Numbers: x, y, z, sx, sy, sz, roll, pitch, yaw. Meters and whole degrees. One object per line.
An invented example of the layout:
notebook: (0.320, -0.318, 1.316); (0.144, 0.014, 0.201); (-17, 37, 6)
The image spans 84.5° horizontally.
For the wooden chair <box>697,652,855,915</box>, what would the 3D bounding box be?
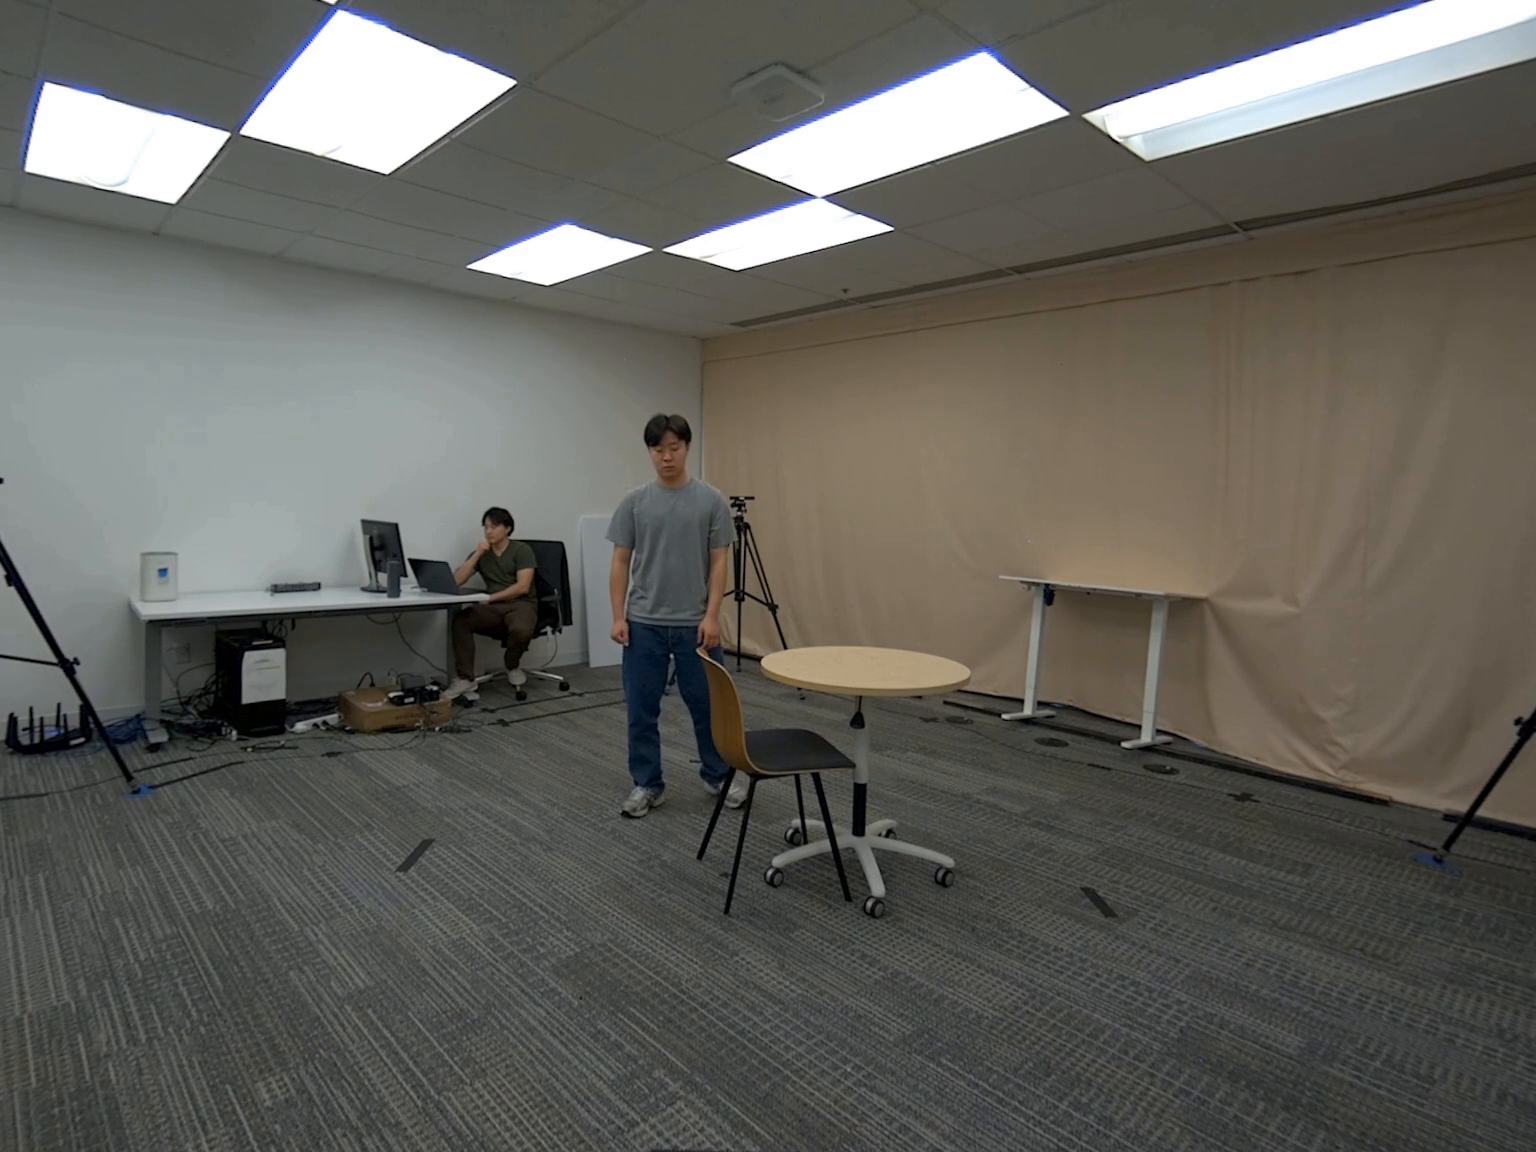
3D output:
wooden chair: (0.018, 0.684, 3.043); (0.517, 0.874, 0.485); (-4, 4, -16)
